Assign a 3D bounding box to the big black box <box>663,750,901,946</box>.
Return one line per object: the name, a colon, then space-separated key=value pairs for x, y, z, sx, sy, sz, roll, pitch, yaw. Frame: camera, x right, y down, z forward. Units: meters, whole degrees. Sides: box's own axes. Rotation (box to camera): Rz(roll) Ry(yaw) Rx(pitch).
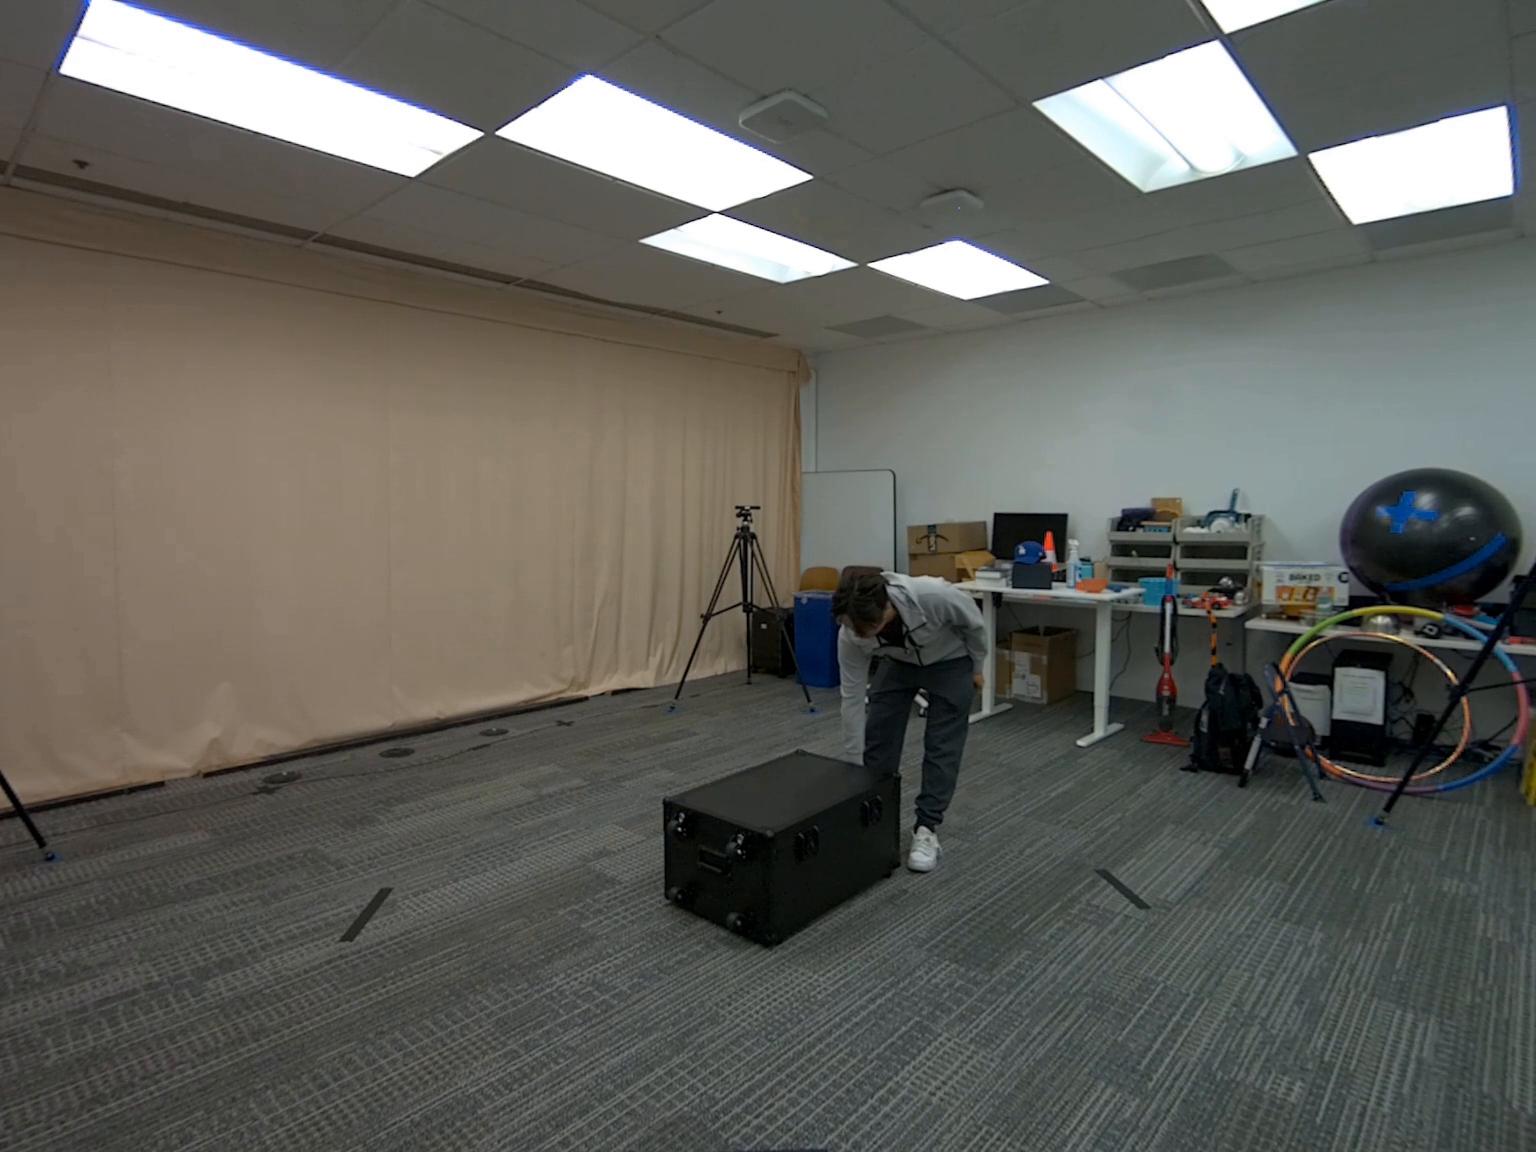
big black box: x=0.044 y=0.949 z=3.036 sx=0.538 sy=0.395 sz=0.835 roll=3 pitch=5 yaw=41
